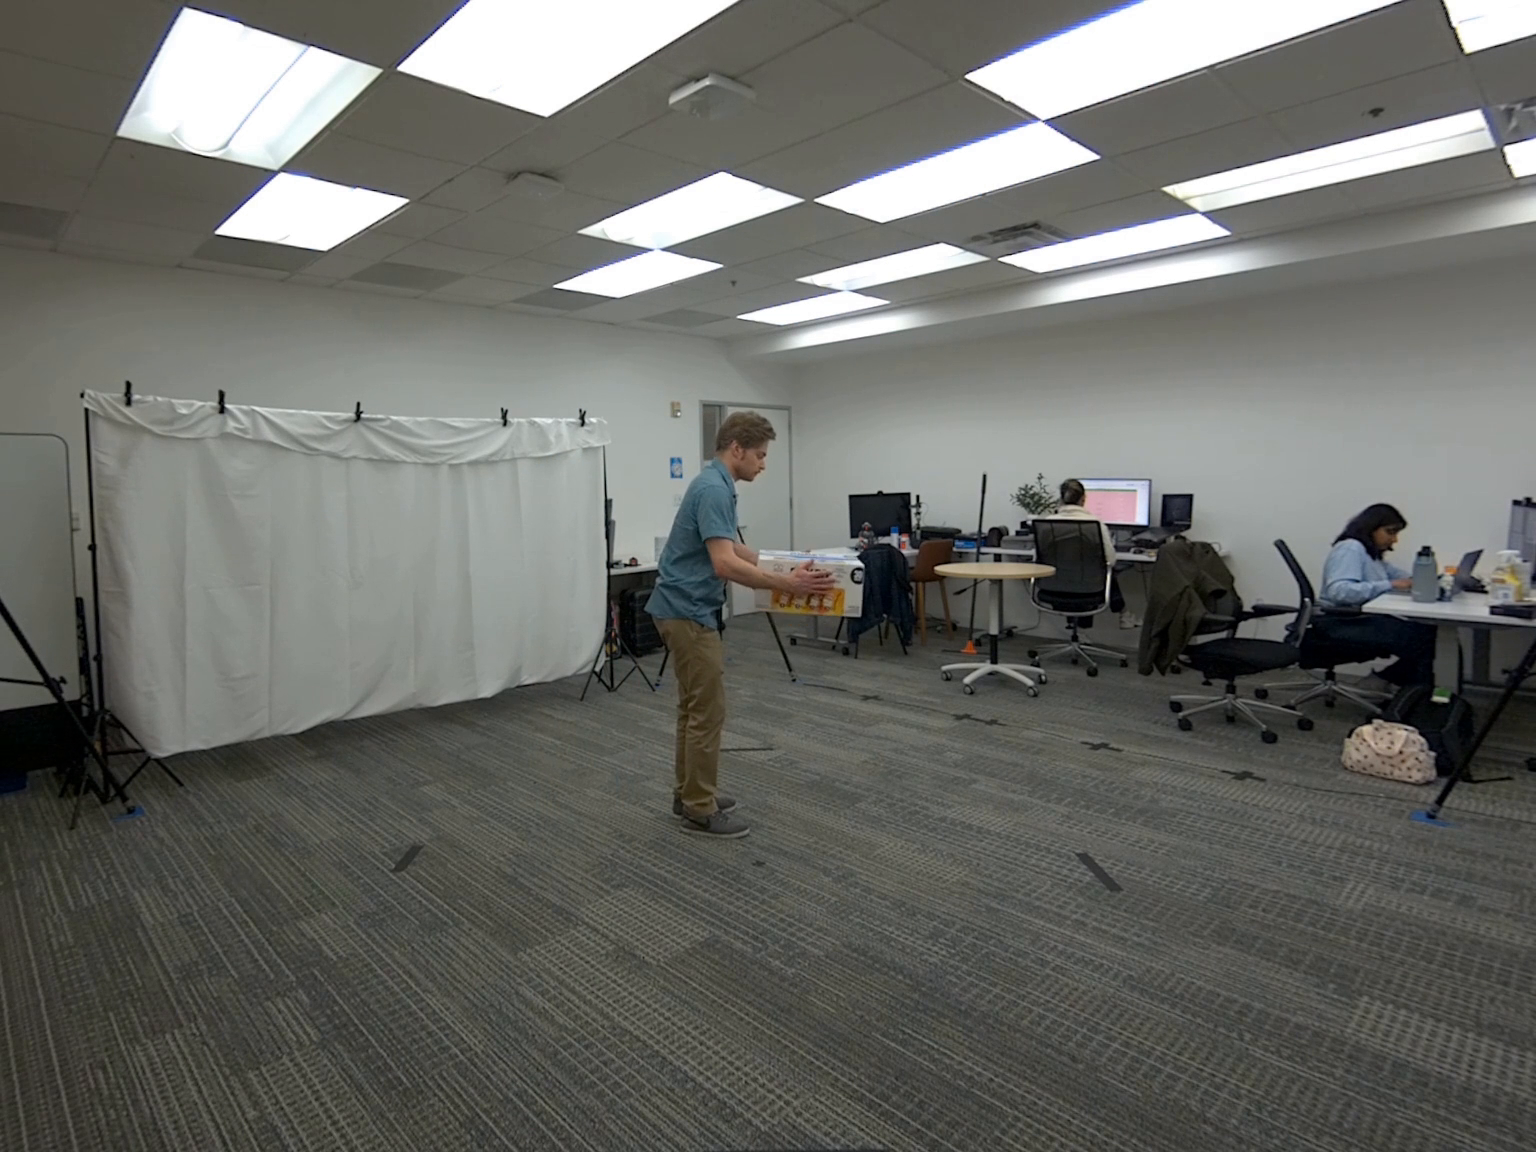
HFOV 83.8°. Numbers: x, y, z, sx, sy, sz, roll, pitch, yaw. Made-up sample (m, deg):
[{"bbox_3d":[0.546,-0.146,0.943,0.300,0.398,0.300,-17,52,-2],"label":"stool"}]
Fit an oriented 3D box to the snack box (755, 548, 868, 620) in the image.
[{"bbox_3d":[0.161,0.023,3.393,0.406,0.205,0.341,4,7,1],"label":"snack box"}]
